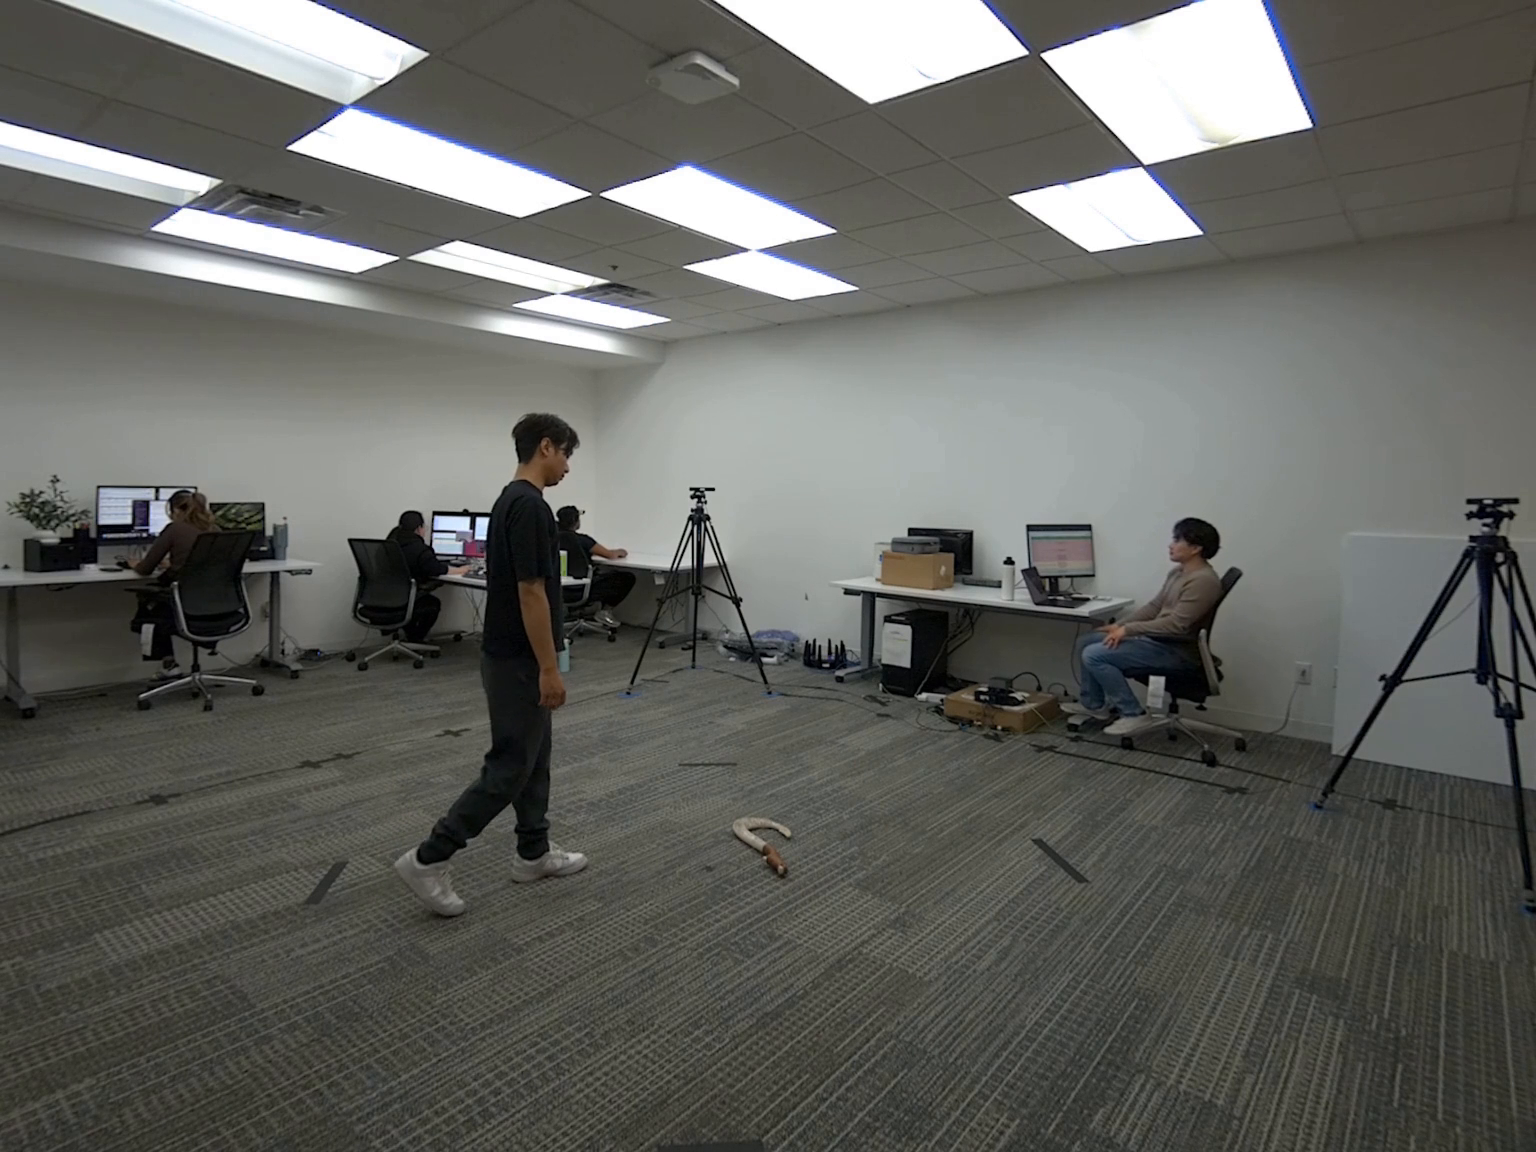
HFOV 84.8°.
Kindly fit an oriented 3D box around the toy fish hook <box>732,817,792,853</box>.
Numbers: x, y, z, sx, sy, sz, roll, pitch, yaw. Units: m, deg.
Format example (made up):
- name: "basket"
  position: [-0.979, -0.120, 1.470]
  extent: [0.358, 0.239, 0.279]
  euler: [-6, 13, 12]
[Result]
- name: "toy fish hook"
  position: [0.013, 1.028, 3.290]
  extent: [0.221, 0.048, 0.518]
  euler: [-2, 7, -19]
